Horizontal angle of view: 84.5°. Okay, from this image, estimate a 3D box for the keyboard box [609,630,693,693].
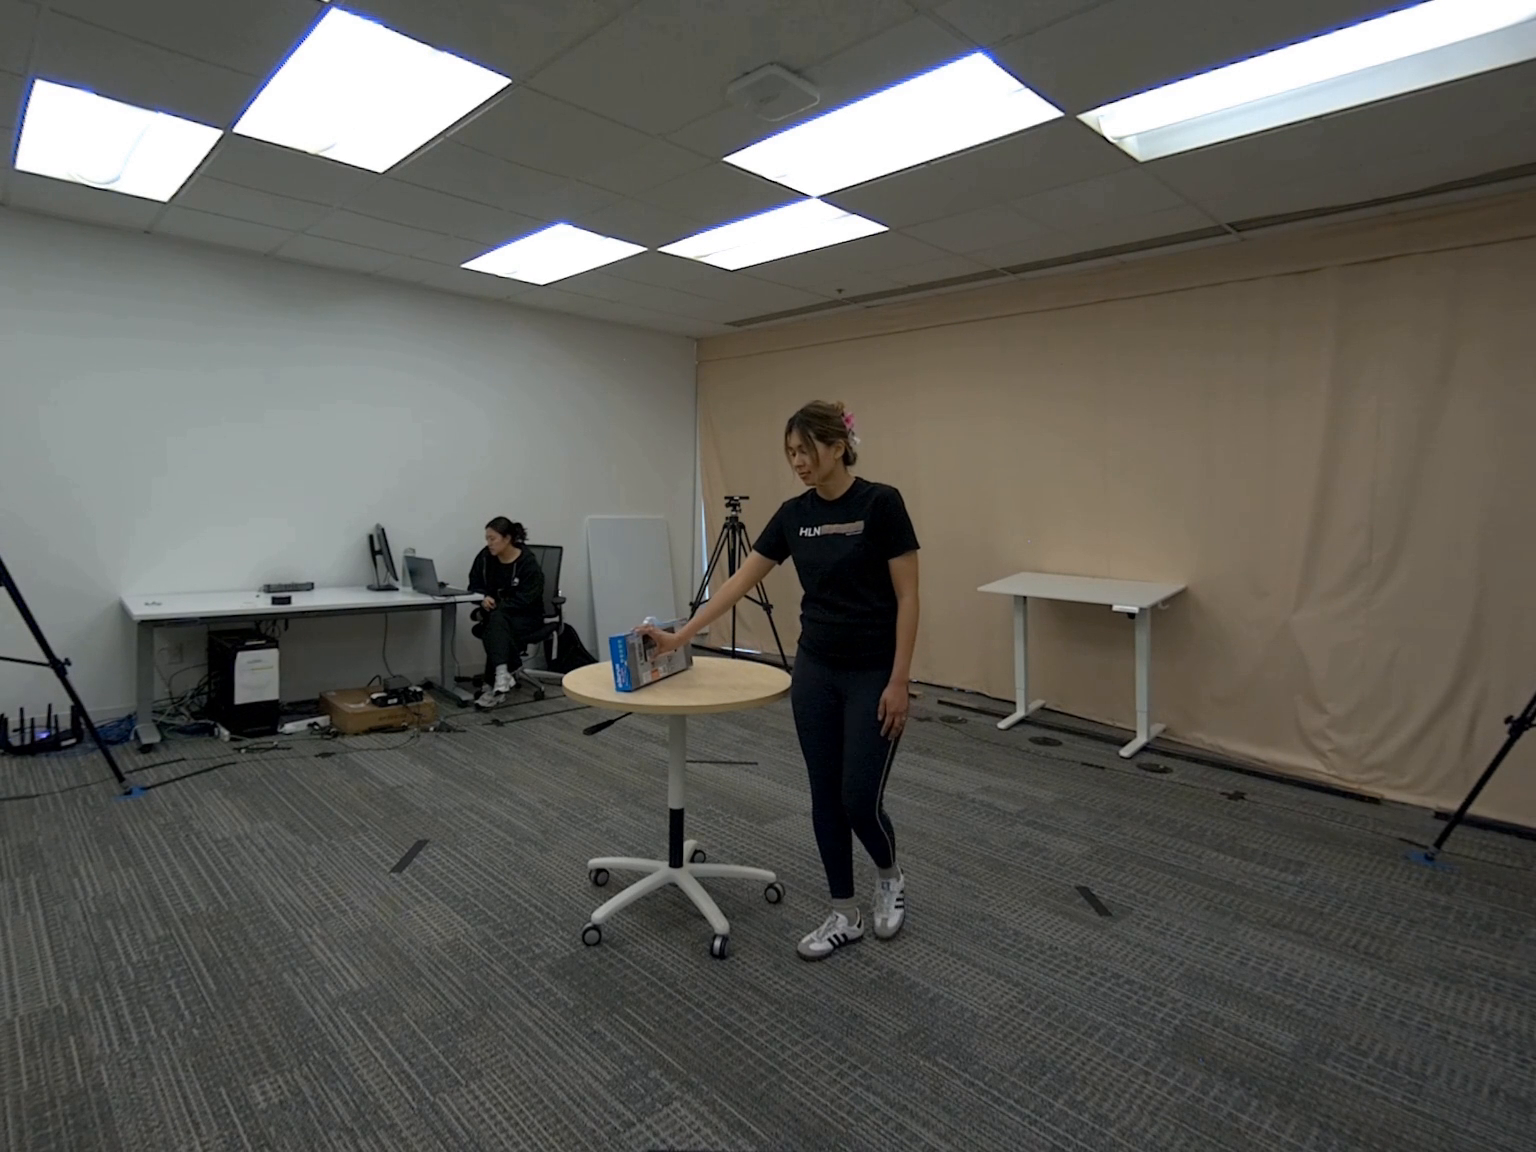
[{"bbox_3d":[-0.381,0.257,2.792,0.060,0.176,0.431,-9,1,19],"label":"keyboard box"}]
